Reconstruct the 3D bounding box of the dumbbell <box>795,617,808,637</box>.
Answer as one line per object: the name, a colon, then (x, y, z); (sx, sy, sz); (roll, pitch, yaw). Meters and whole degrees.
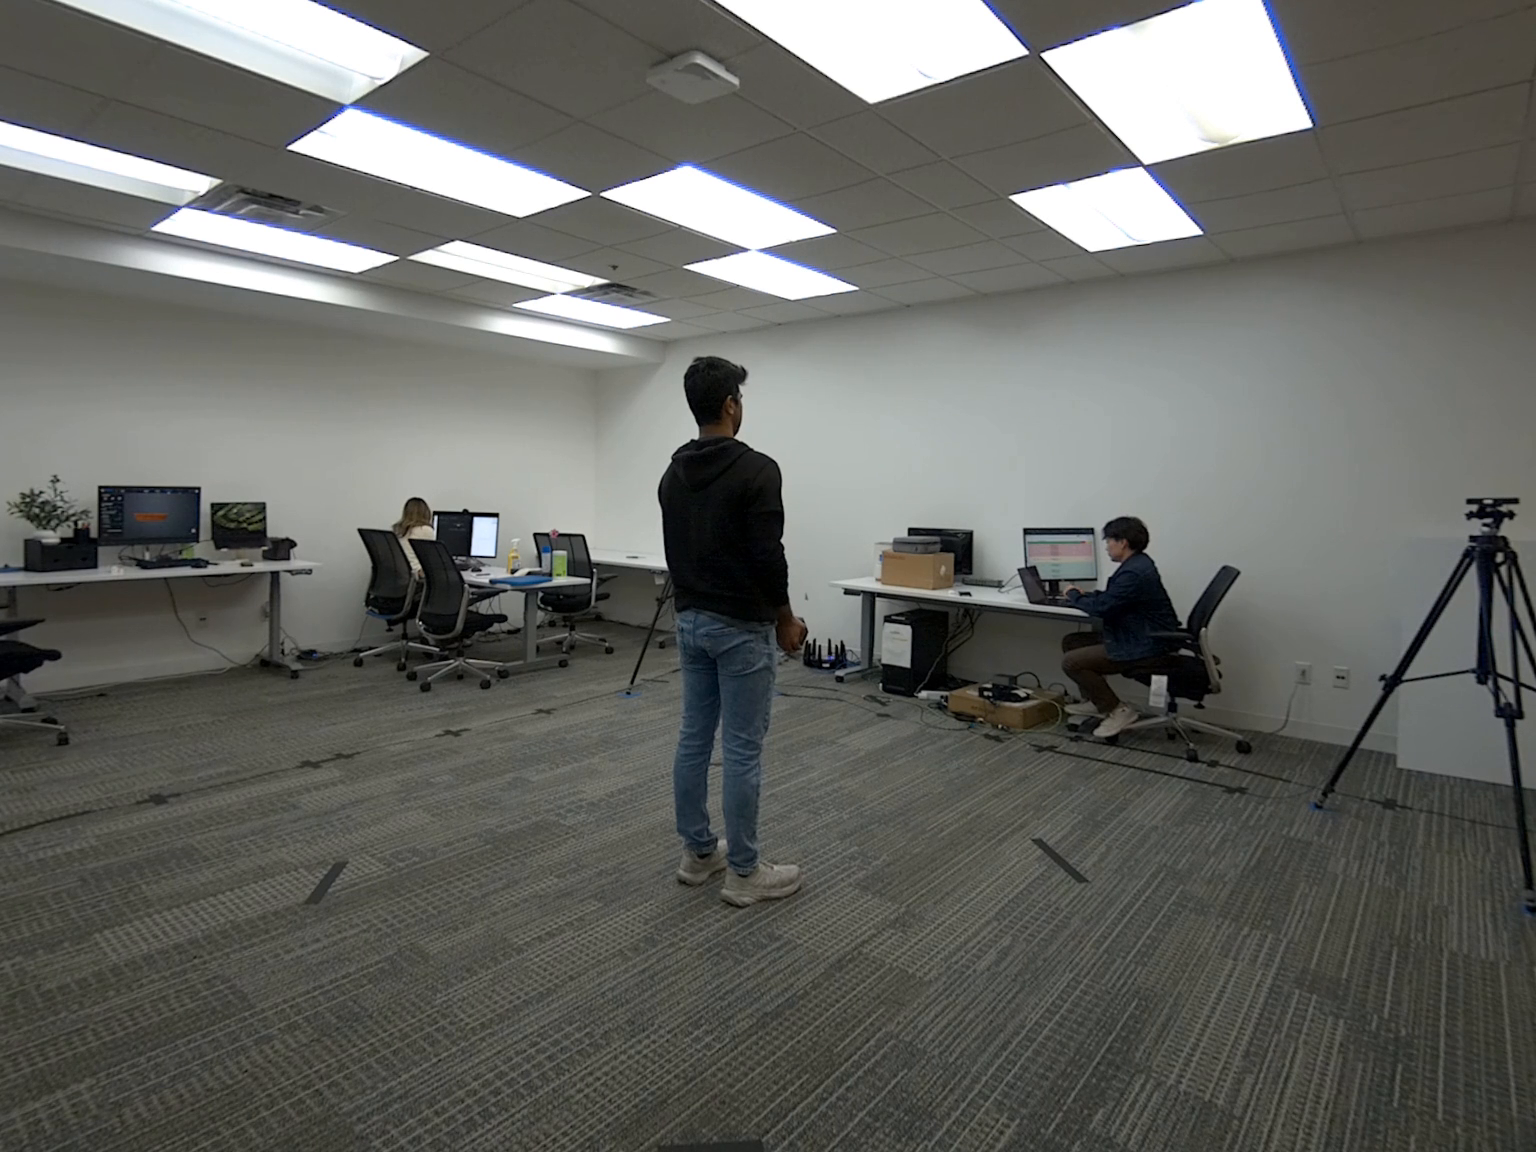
dumbbell: (0.004, 0.166, 3.115); (0.304, 0.124, 0.104); (10, -18, 44)
